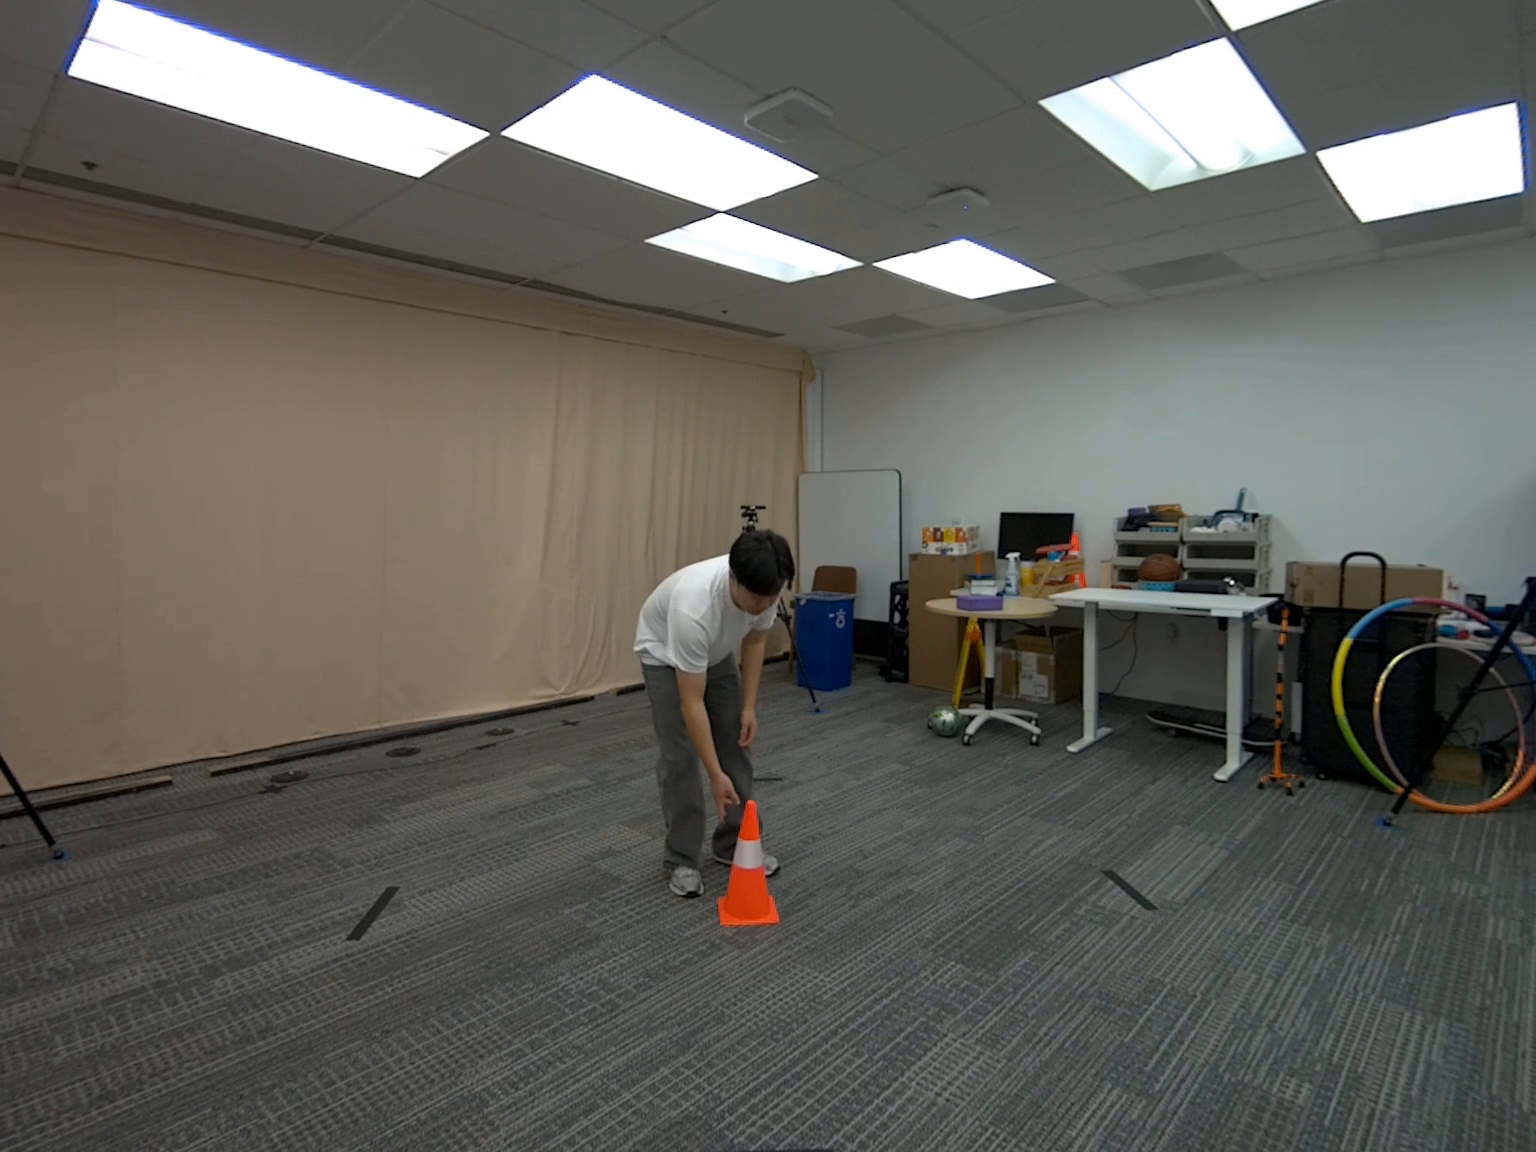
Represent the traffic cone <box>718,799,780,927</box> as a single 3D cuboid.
[{"bbox_3d":[-0.066,0.962,2.888,0.202,0.383,0.206,-1,4,-5],"label":"traffic cone"}]
